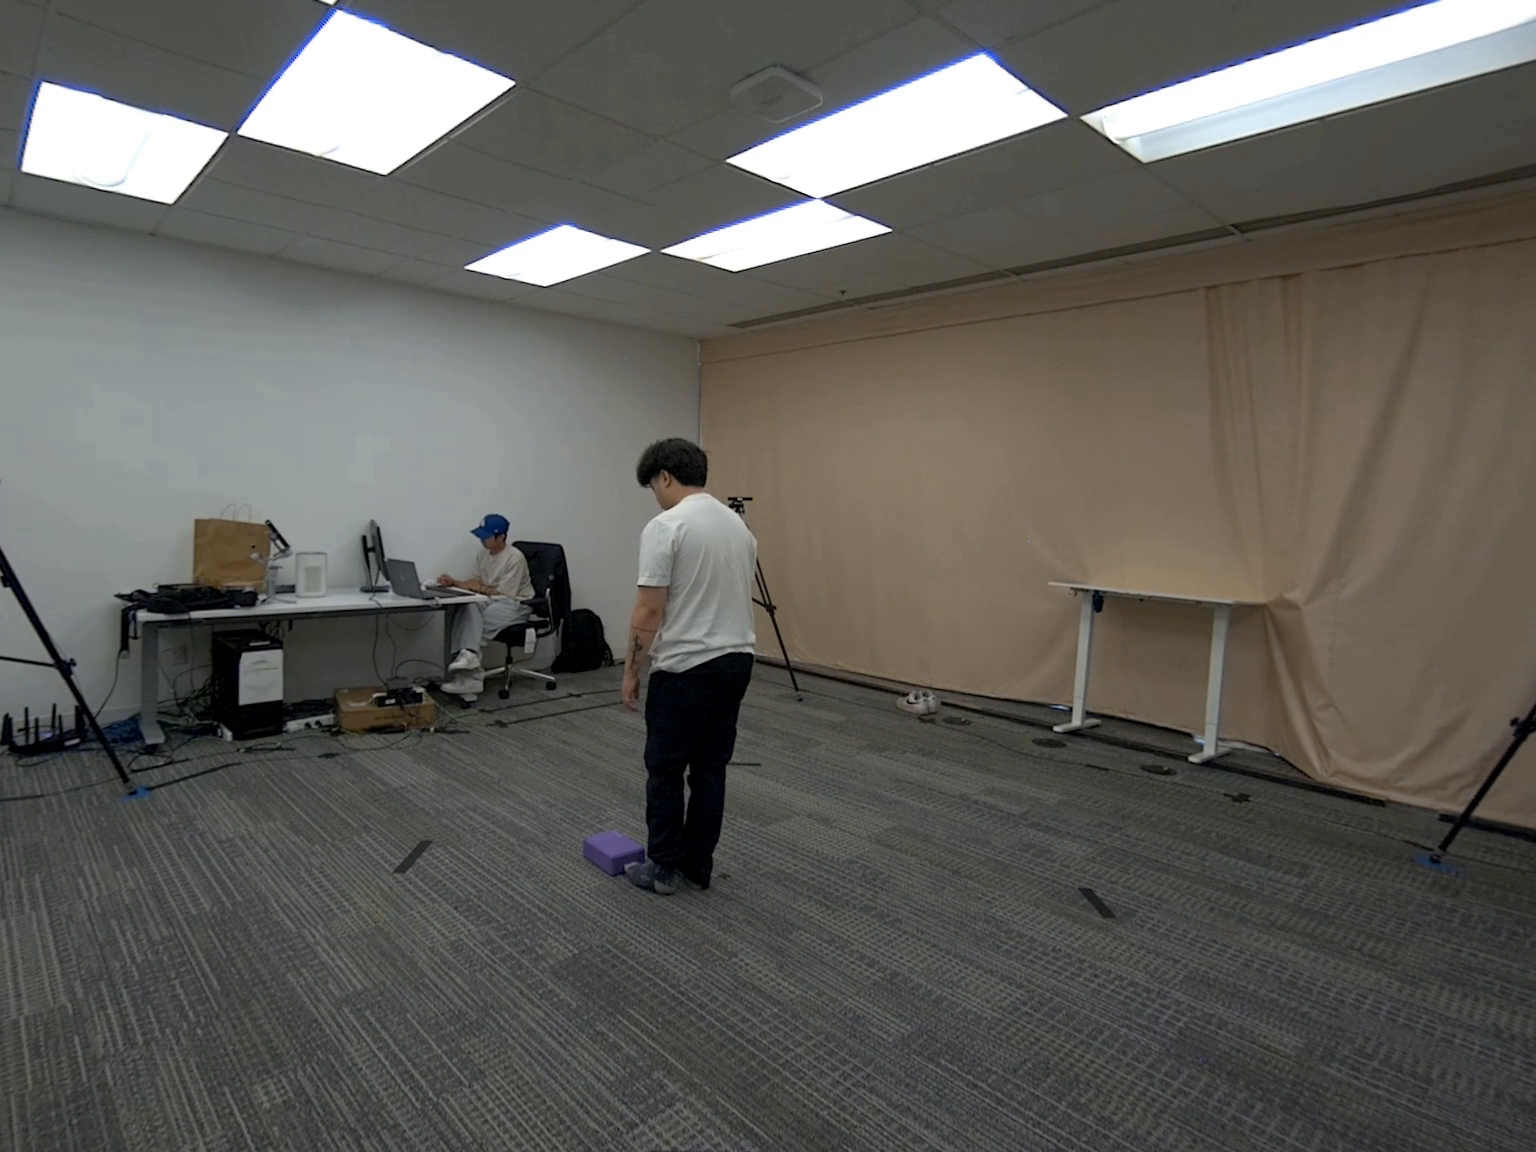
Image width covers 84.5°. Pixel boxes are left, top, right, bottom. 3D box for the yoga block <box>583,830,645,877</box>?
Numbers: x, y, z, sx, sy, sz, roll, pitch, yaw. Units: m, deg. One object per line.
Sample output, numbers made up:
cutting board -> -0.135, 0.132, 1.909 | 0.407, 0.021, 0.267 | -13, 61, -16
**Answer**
yoga block -> -0.596, 1.050, 3.205 | 0.146, 0.076, 0.235 | -4, 7, -40
